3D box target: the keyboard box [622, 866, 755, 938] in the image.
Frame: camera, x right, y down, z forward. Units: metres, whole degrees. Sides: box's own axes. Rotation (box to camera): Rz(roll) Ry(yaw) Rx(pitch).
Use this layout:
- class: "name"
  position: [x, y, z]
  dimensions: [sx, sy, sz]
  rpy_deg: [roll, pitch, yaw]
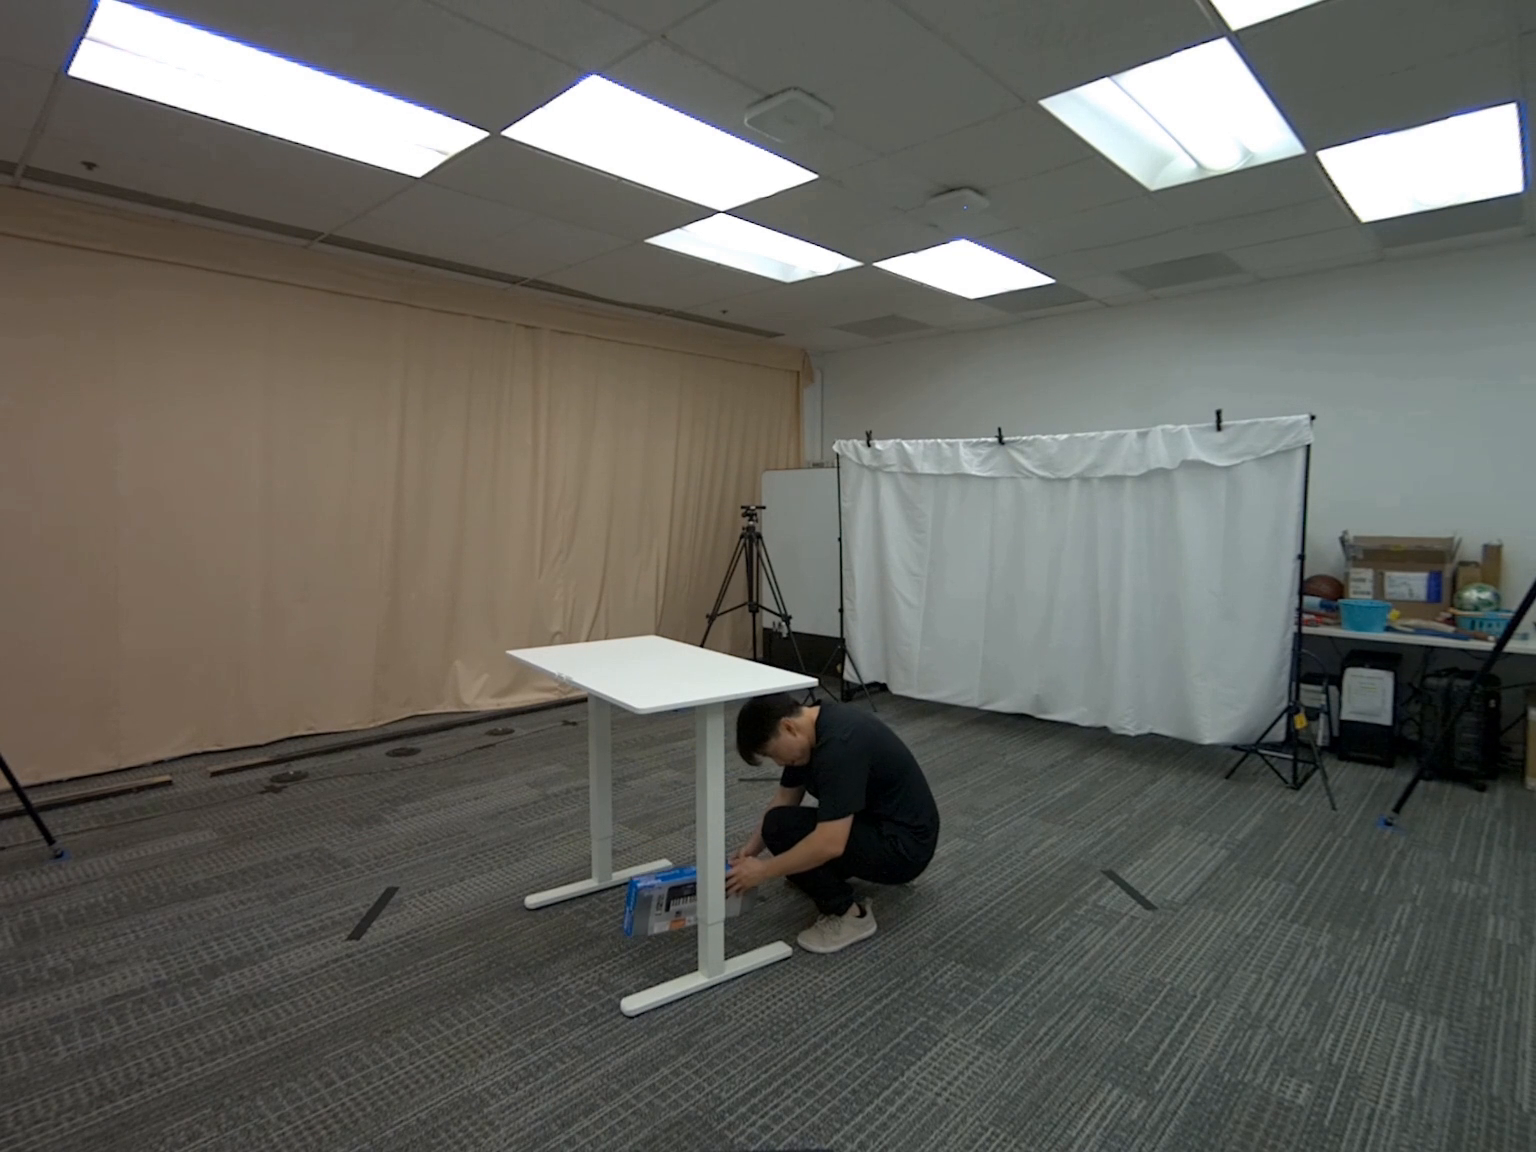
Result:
- class: "keyboard box"
  position: [-0.224, 0.991, 2.576]
  dimensions: [0.424, 0.175, 0.061]
  rpy_deg: [3, 13, -32]
